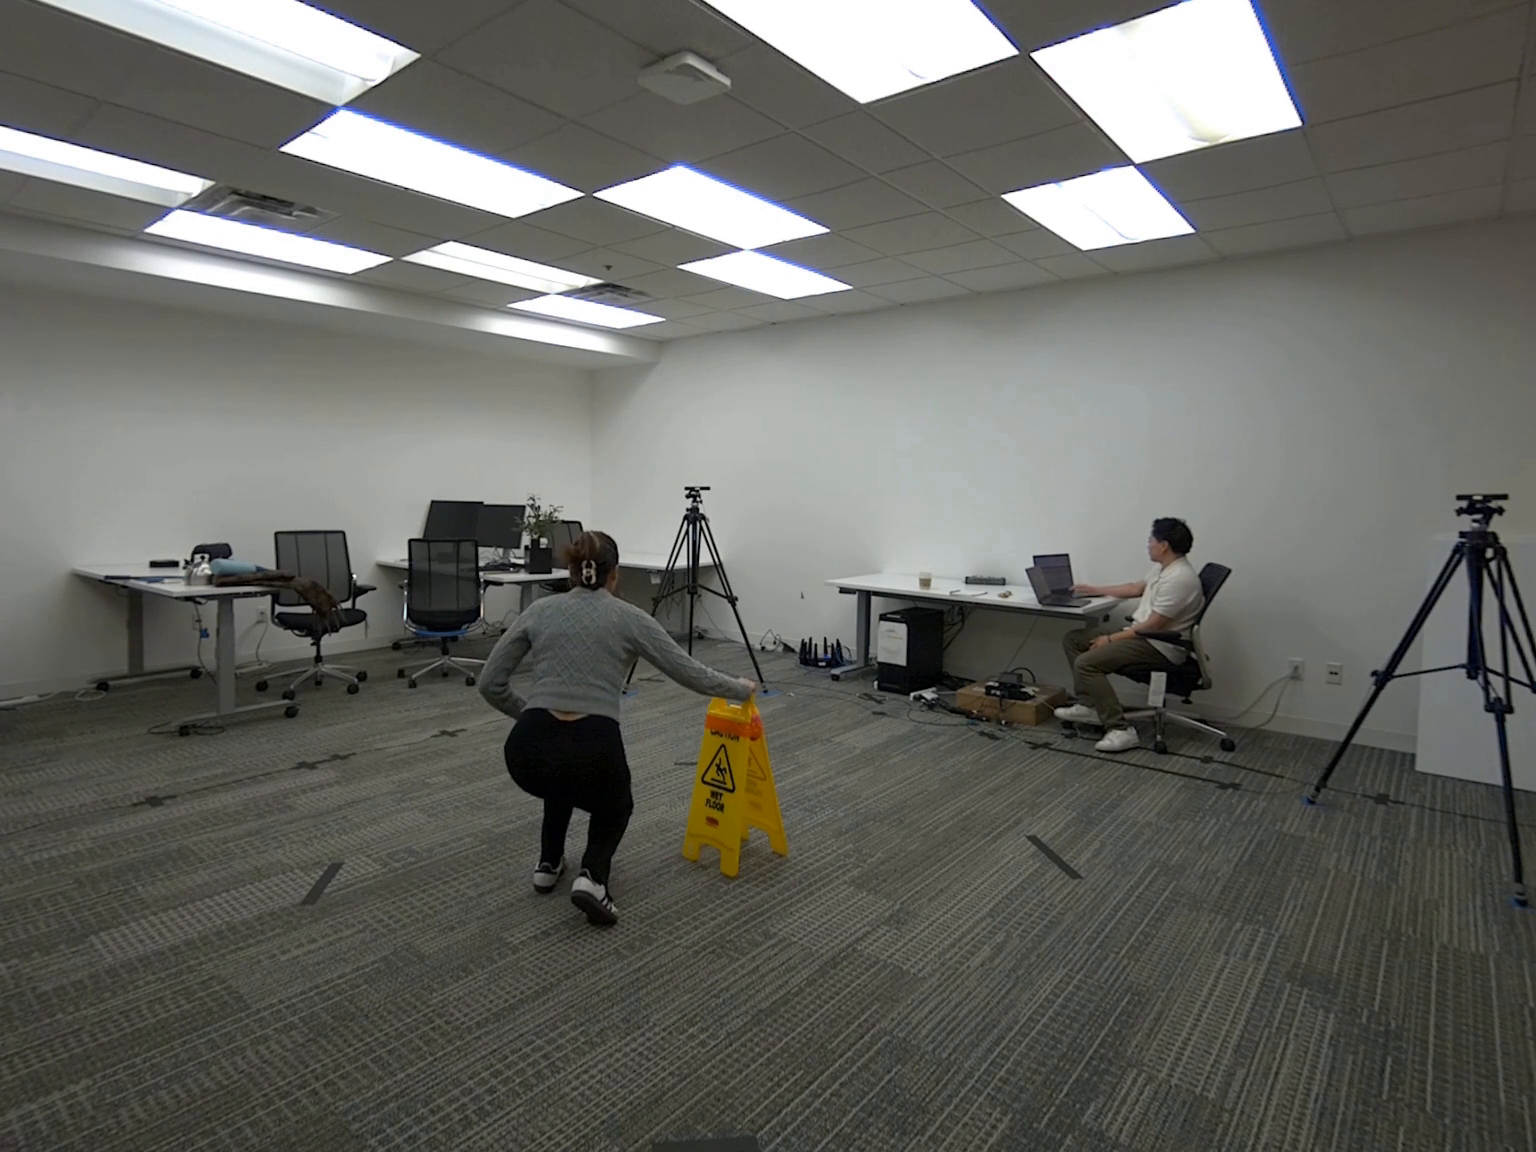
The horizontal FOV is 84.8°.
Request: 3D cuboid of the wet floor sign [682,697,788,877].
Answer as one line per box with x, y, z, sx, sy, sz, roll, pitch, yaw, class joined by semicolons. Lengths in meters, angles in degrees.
-0.141;0.727;3.213;0.291;0.645;0.281;1;2;43;wet floor sign
